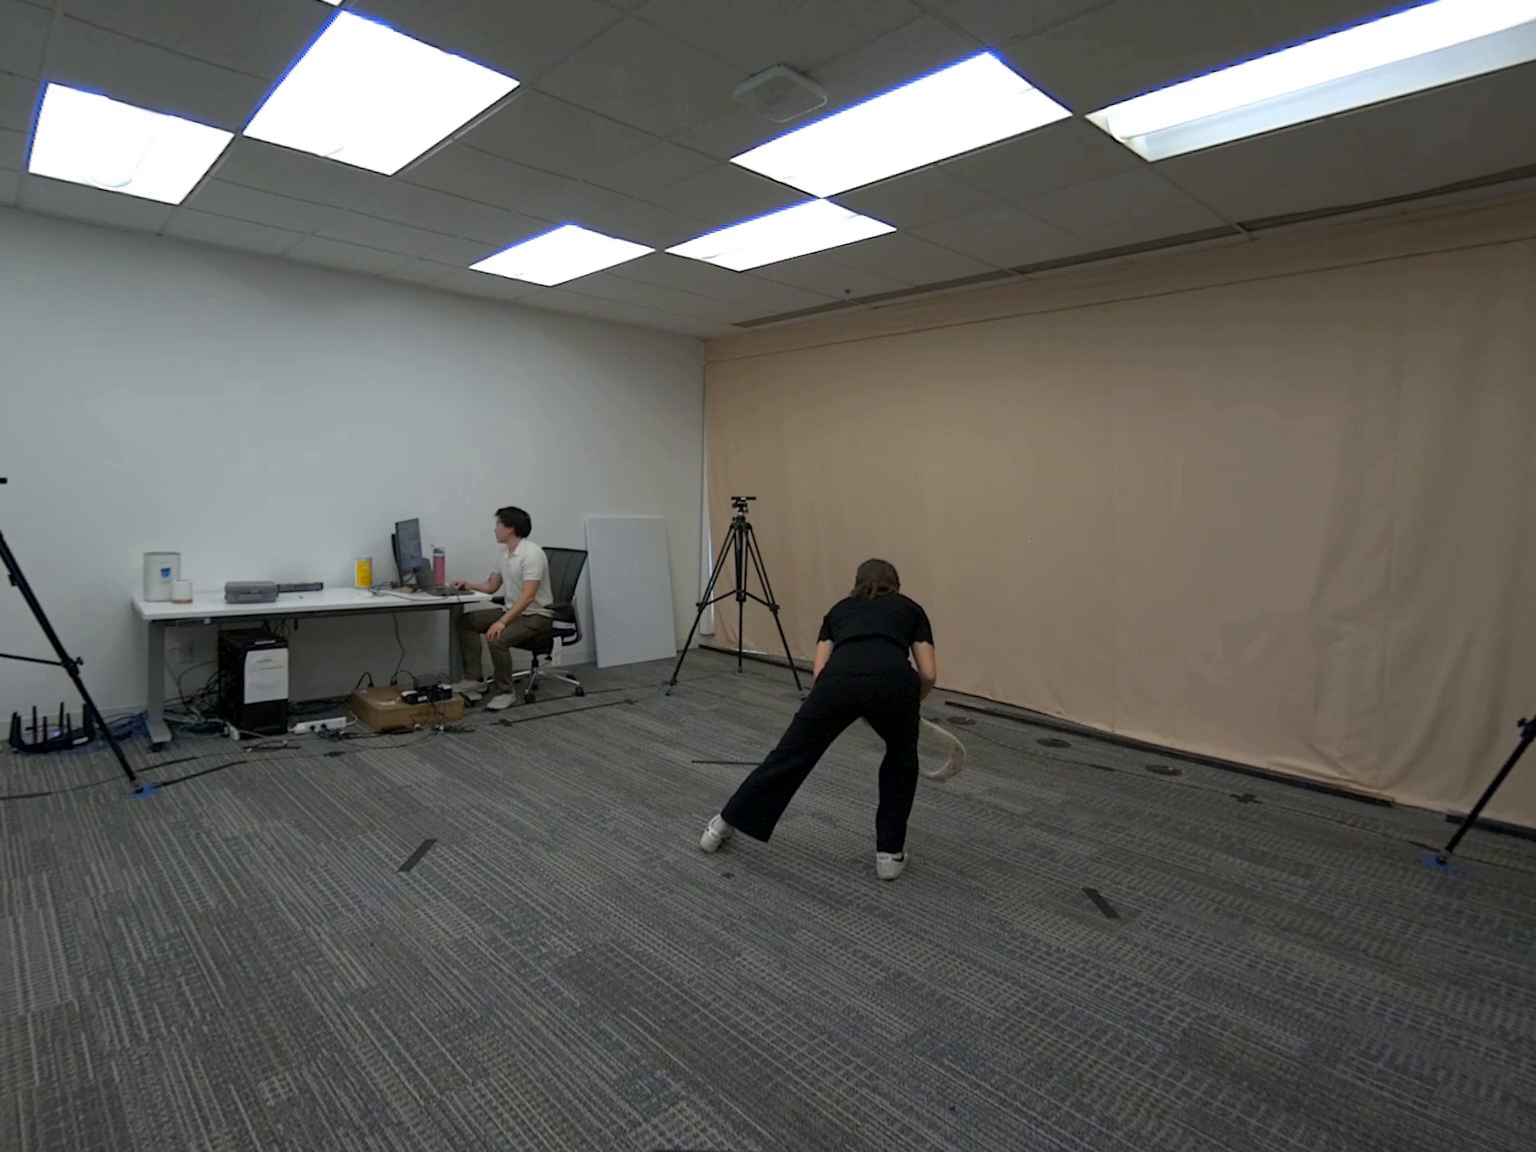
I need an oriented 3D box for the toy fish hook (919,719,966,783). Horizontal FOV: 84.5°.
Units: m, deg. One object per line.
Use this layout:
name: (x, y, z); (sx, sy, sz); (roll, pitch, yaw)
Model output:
toy fish hook: (0.579, 0.622, 3.405); (0.225, 0.501, 0.049); (-43, 10, 5)
